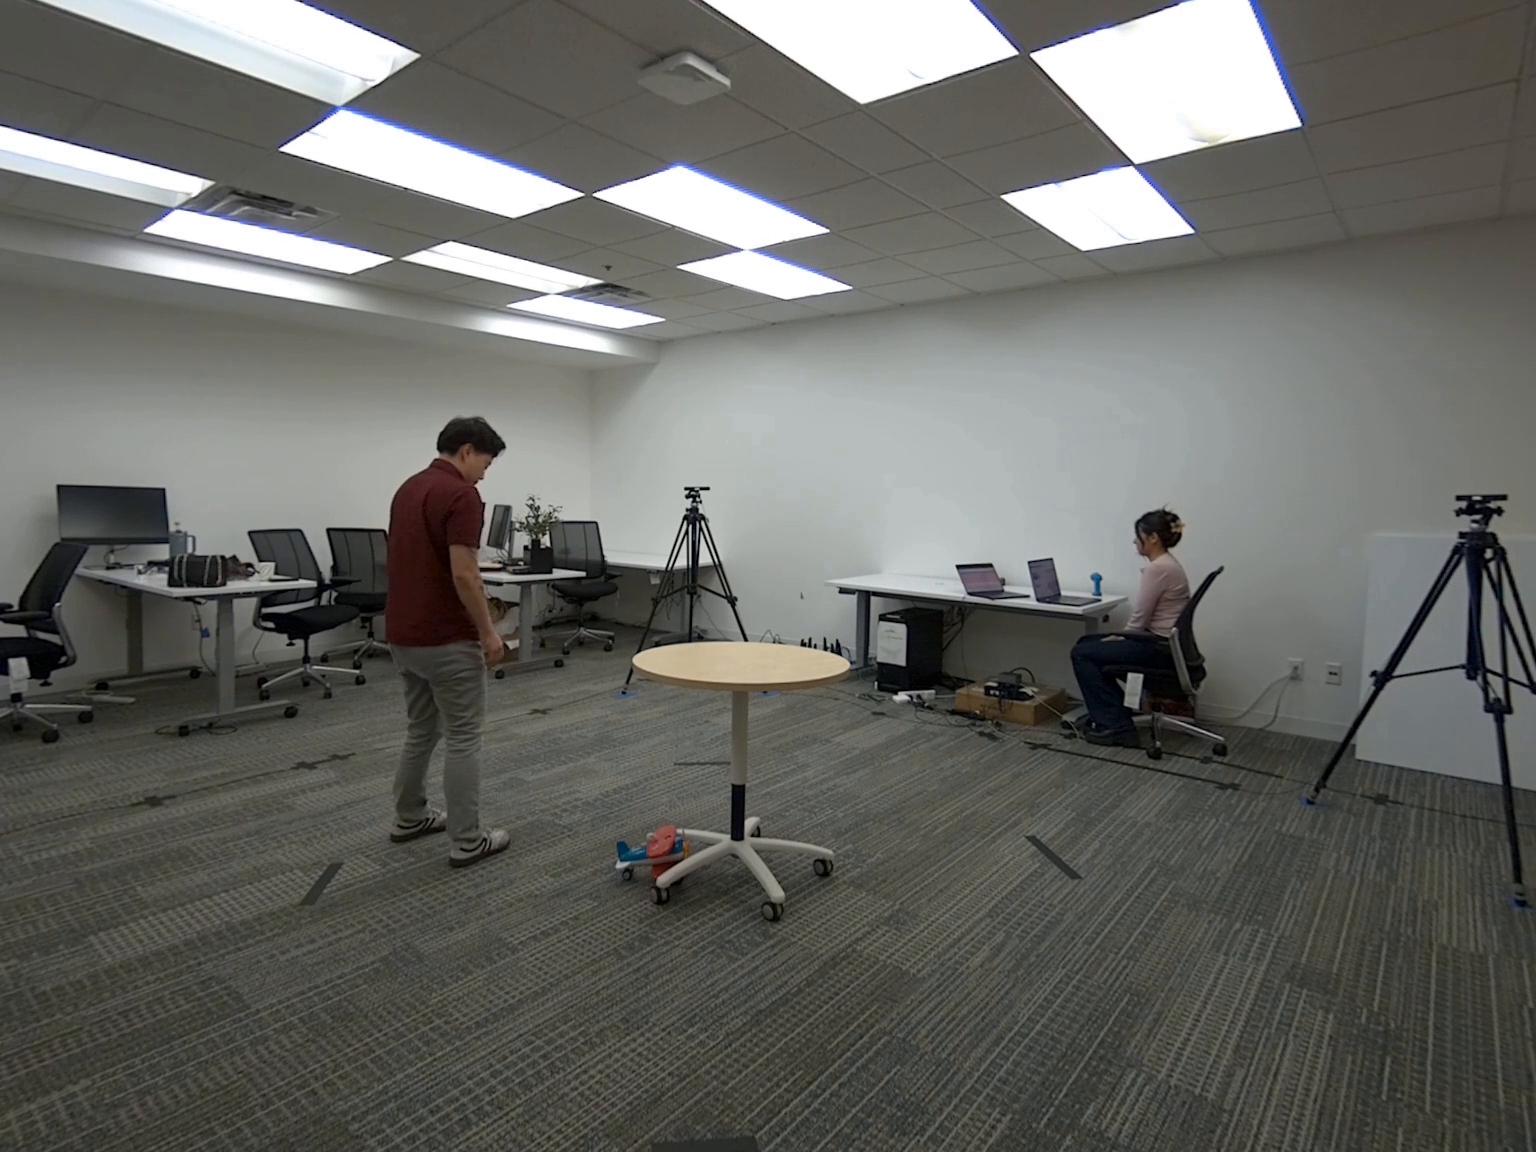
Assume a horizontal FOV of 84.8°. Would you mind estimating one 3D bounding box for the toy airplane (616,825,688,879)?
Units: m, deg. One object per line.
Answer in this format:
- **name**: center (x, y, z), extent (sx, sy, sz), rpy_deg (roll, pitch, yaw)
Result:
- **toy airplane**: center (-0.415, 0.995, 3.009), extent (0.253, 0.156, 0.258), rpy_deg (-1, 6, -26)
